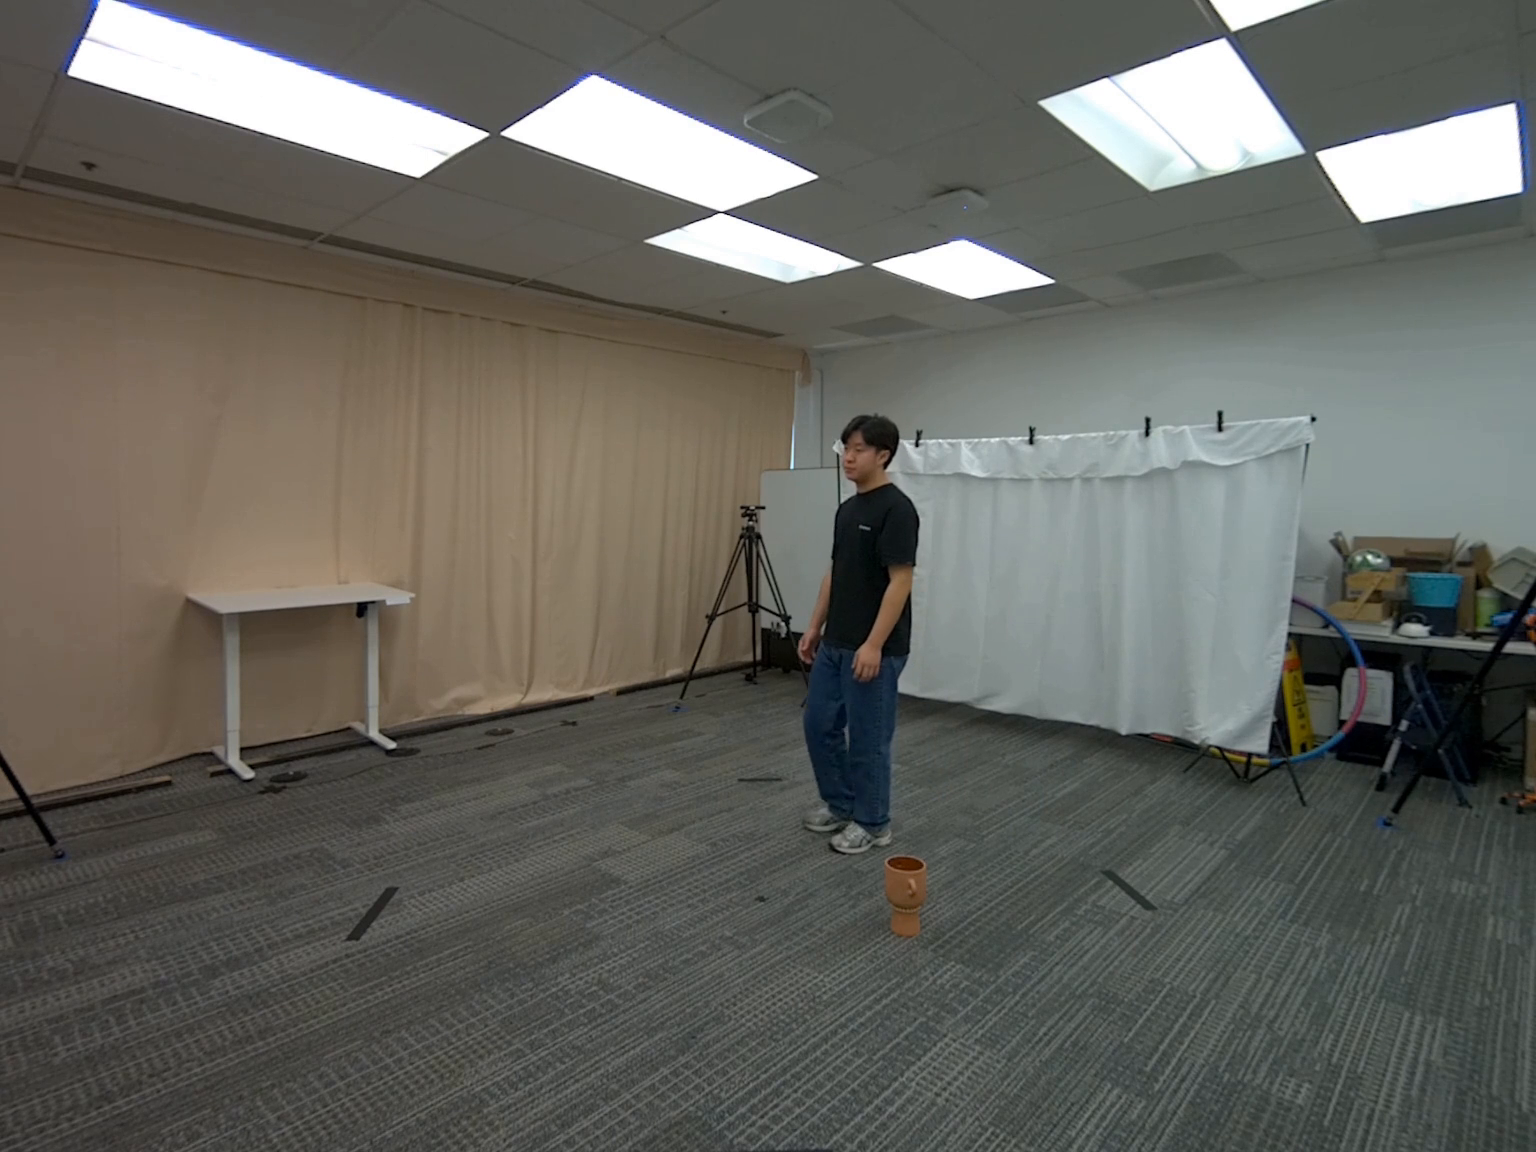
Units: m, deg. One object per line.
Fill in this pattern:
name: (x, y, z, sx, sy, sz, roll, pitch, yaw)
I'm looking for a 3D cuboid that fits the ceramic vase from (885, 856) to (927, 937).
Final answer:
ceramic vase: (0.448, 1.041, 2.762, 0.139, 0.219, 0.154, 1, 4, 32)
